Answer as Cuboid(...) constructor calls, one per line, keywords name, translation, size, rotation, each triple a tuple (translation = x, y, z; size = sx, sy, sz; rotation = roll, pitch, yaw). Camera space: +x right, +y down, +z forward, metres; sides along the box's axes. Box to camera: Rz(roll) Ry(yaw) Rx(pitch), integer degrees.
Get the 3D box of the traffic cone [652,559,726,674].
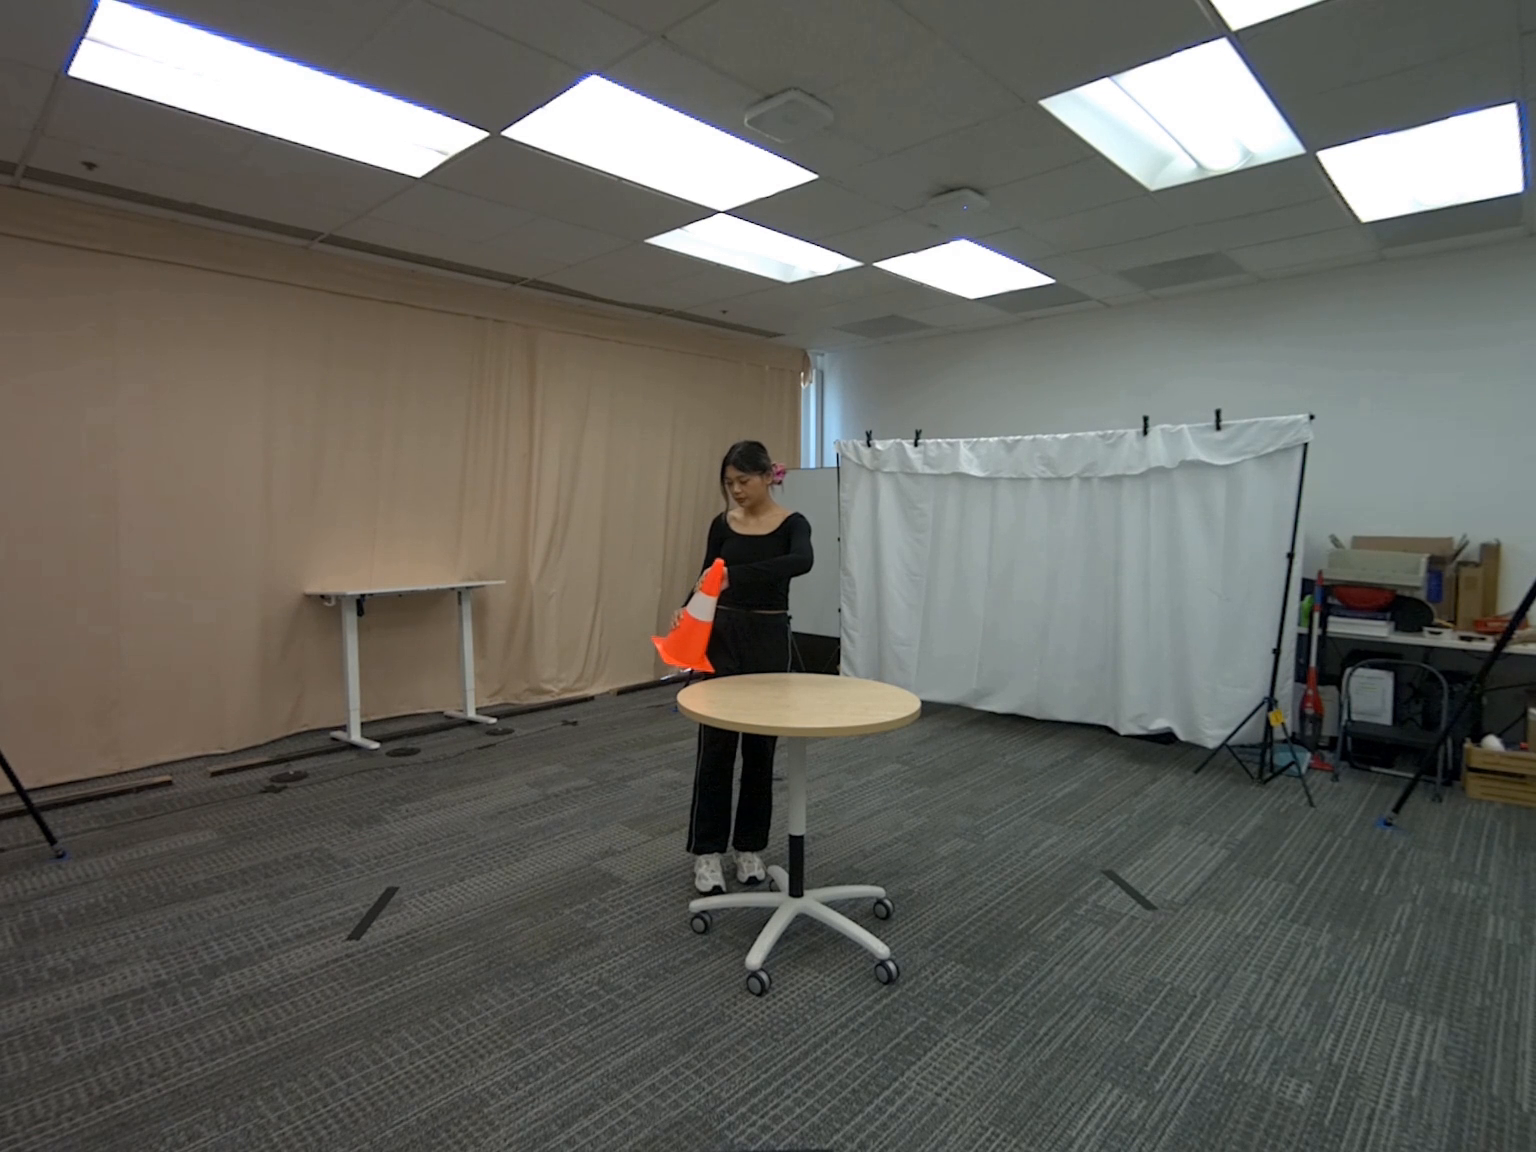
Cuboid(name="traffic cone", translation=(-0.230, 0.118, 2.953), size=(0.200, 0.383, 0.209), rotation=(16, 19, -25))
